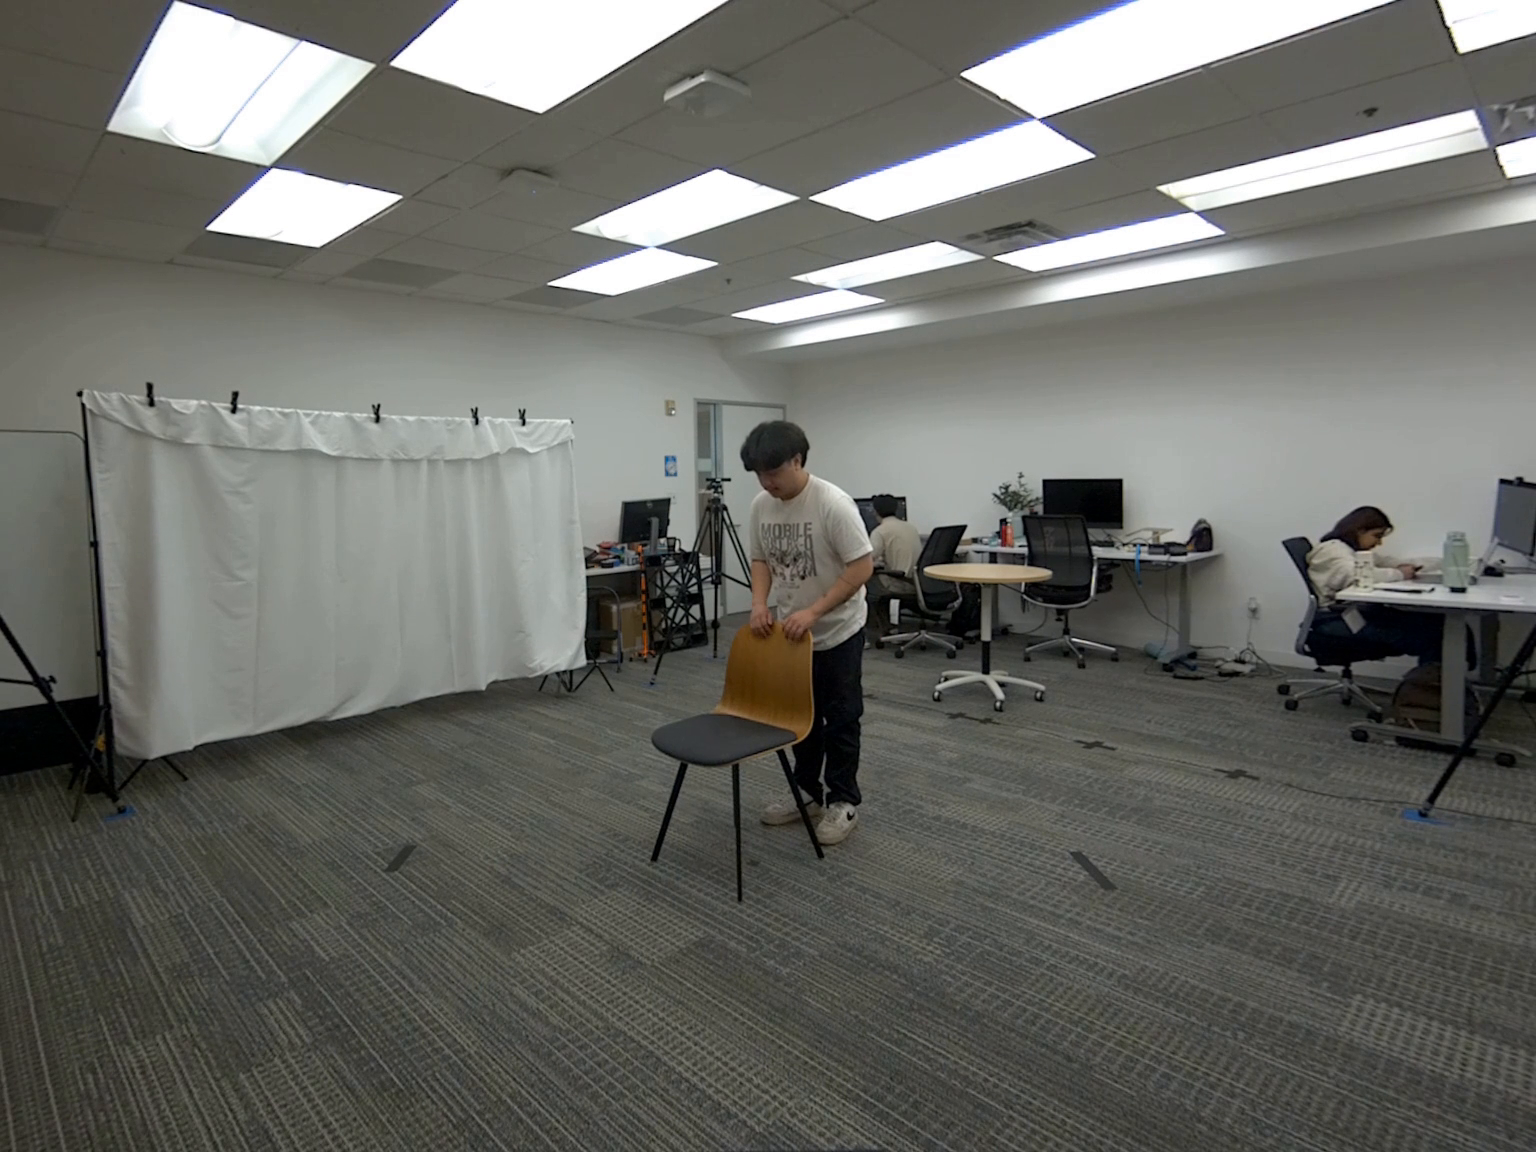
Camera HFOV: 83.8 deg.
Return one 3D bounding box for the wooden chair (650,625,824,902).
[{"bbox_3d":[-0.123,0.621,3.090,0.493,0.876,0.508,4,2,43],"label":"wooden chair"}]
